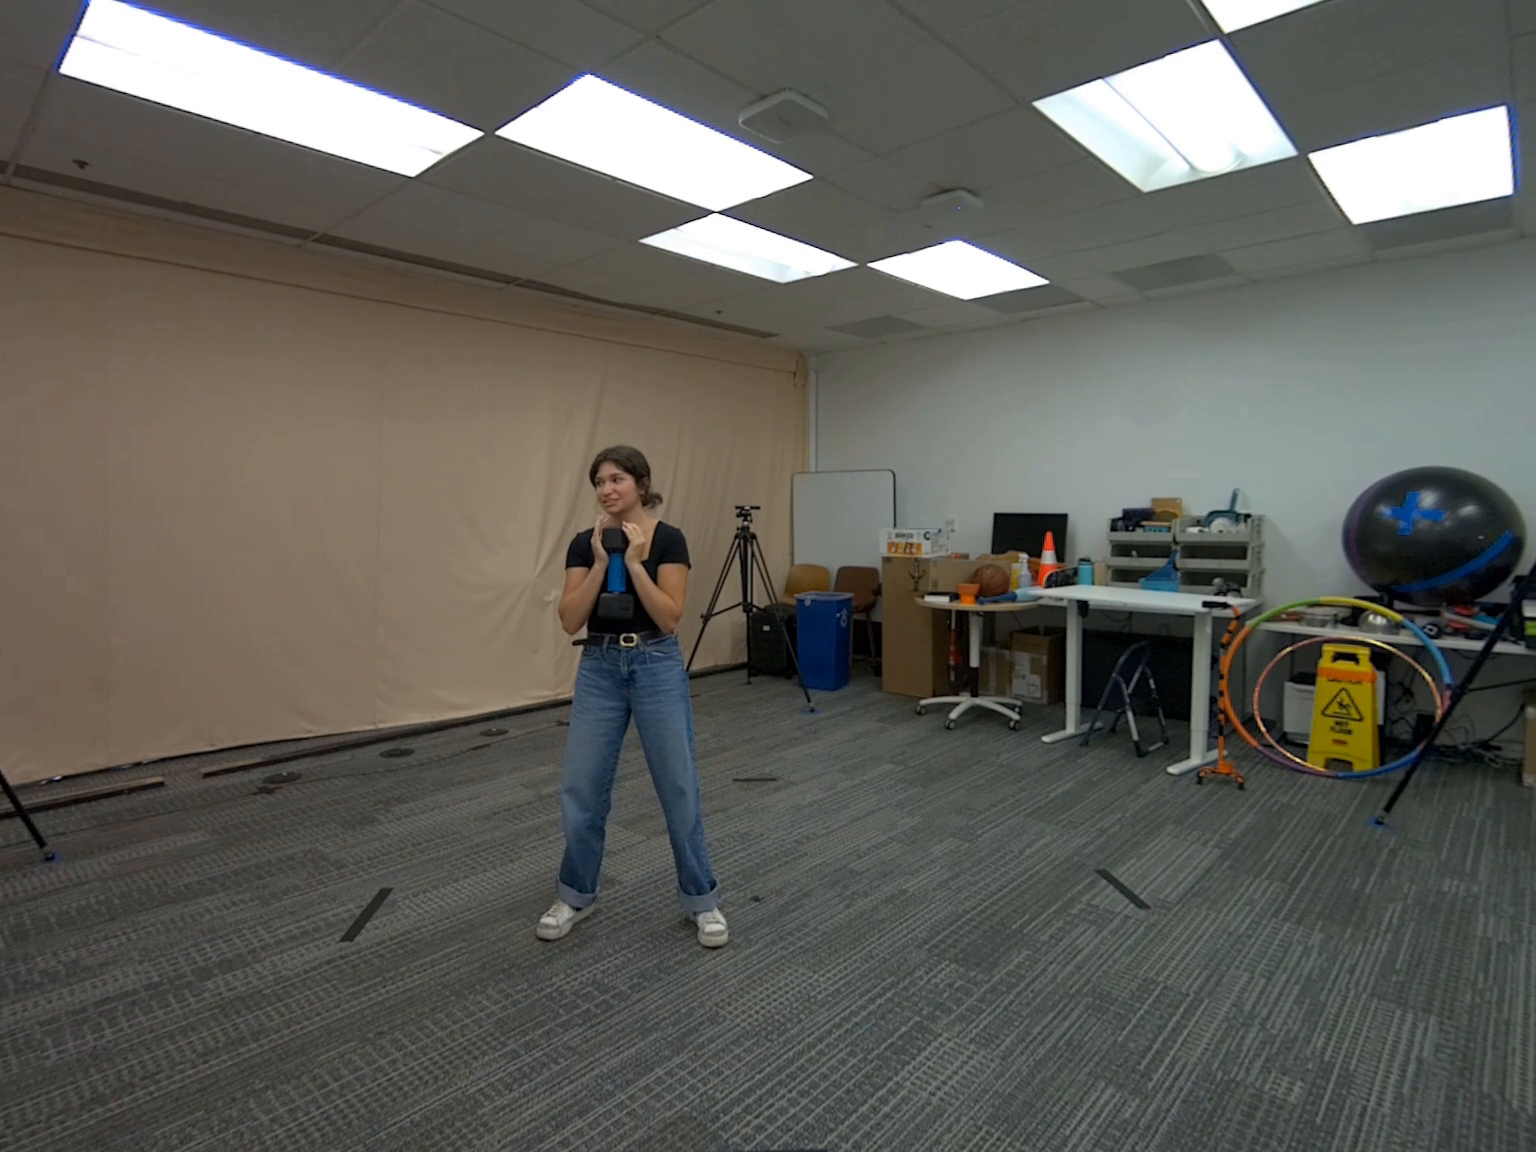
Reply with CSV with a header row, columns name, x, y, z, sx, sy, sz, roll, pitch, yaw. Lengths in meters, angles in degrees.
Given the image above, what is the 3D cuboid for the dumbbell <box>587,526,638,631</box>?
name,x,y,z,sx,sy,sz,roll,pitch,yaw
dumbbell,-0.475,-0.008,2.673,0.112,0.293,0.119,2,0,39
